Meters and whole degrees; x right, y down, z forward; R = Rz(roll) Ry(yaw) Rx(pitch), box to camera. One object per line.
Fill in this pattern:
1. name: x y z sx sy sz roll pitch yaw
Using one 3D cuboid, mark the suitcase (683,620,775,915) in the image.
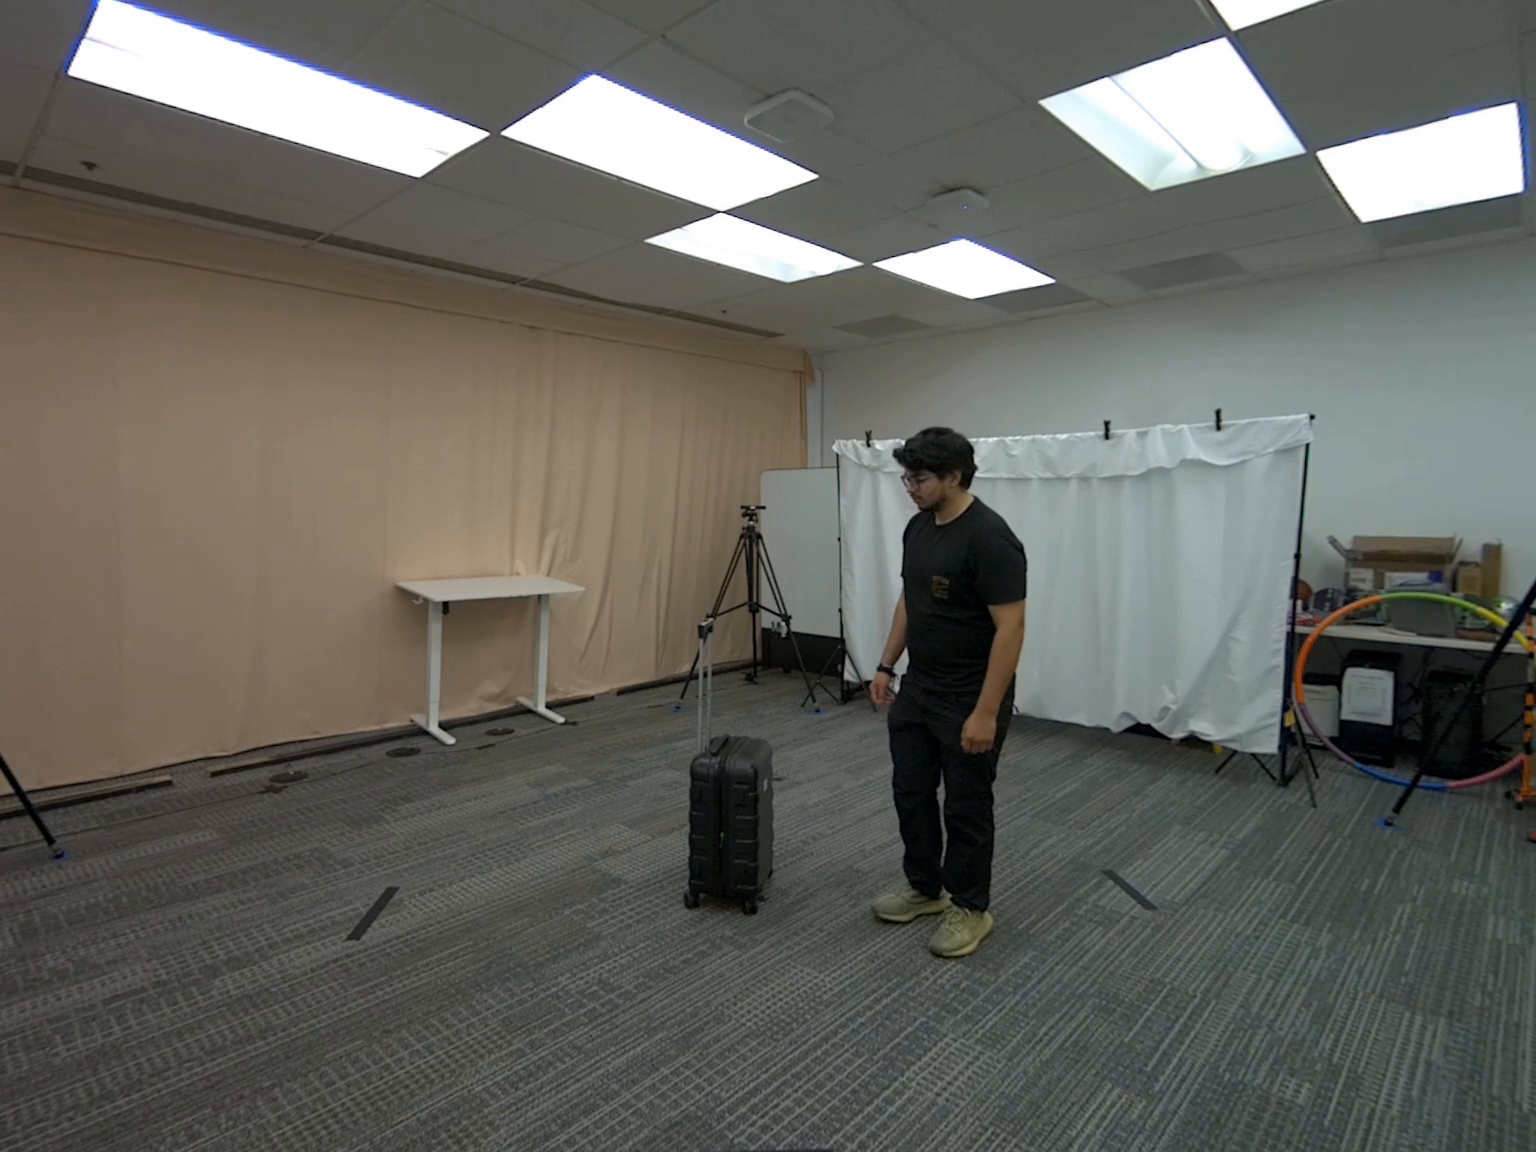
1. suitcase: -0.122 0.665 3.002 0.260 0.976 0.380 3 5 11
